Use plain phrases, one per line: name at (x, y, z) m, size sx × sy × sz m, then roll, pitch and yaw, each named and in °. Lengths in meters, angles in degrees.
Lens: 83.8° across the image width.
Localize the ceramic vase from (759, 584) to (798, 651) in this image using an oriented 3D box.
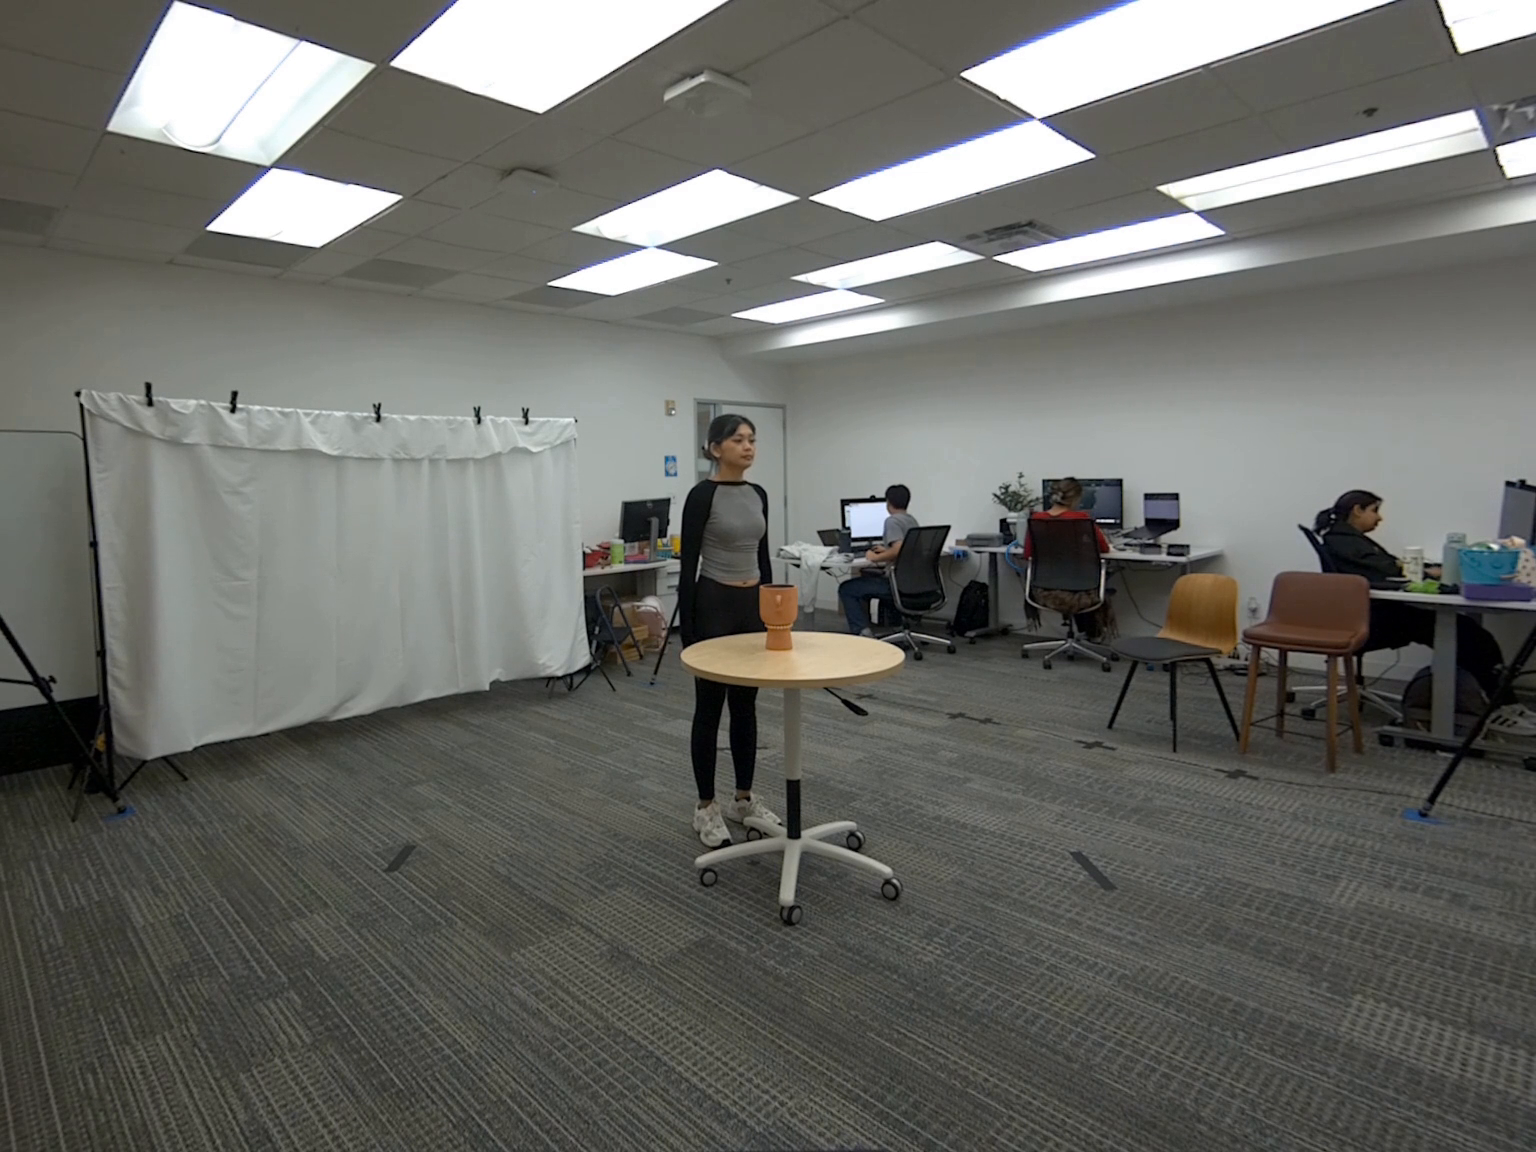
ceramic vase at (0.042, 0.151, 3.024) m, size 0.139 × 0.219 × 0.155 m, roll 3°, pitch 6°, yaw 41°
